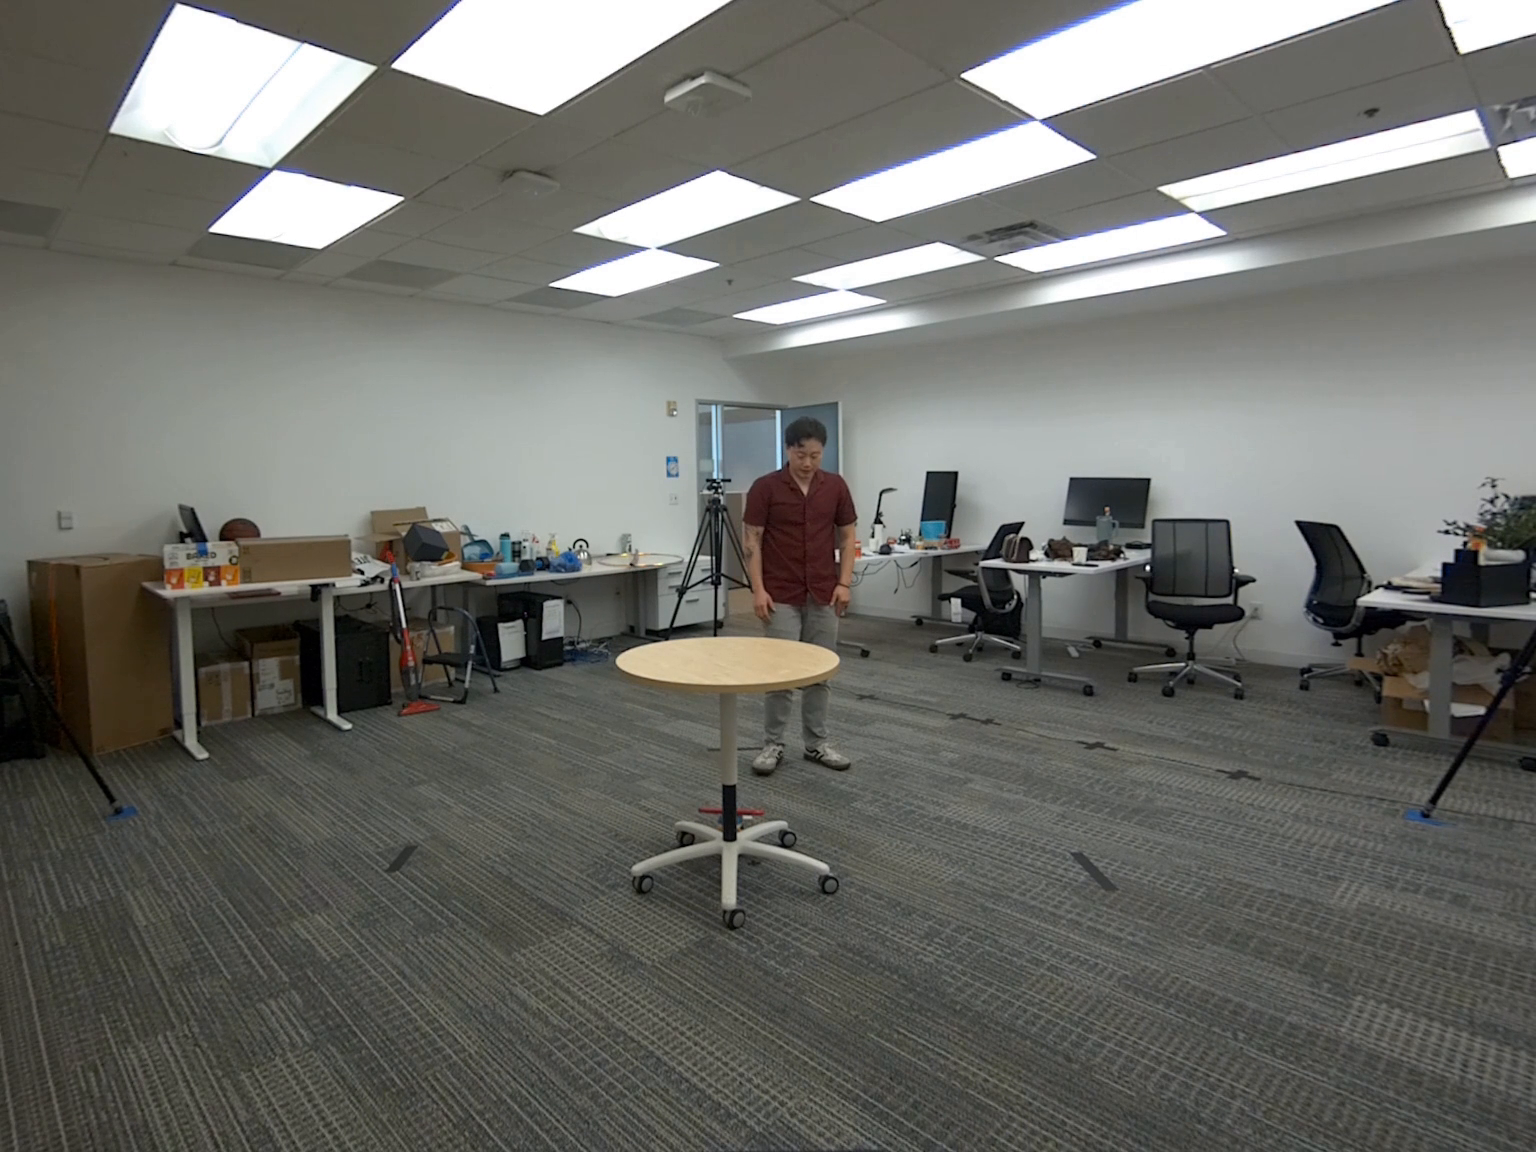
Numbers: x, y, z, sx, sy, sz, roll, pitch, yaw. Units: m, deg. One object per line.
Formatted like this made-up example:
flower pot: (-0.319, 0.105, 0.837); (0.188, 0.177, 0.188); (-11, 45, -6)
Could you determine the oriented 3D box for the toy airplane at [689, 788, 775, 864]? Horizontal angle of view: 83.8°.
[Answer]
toy airplane: (-0.144, 0.949, 3.283); (0.247, 0.156, 0.265); (-3, 6, -20)
